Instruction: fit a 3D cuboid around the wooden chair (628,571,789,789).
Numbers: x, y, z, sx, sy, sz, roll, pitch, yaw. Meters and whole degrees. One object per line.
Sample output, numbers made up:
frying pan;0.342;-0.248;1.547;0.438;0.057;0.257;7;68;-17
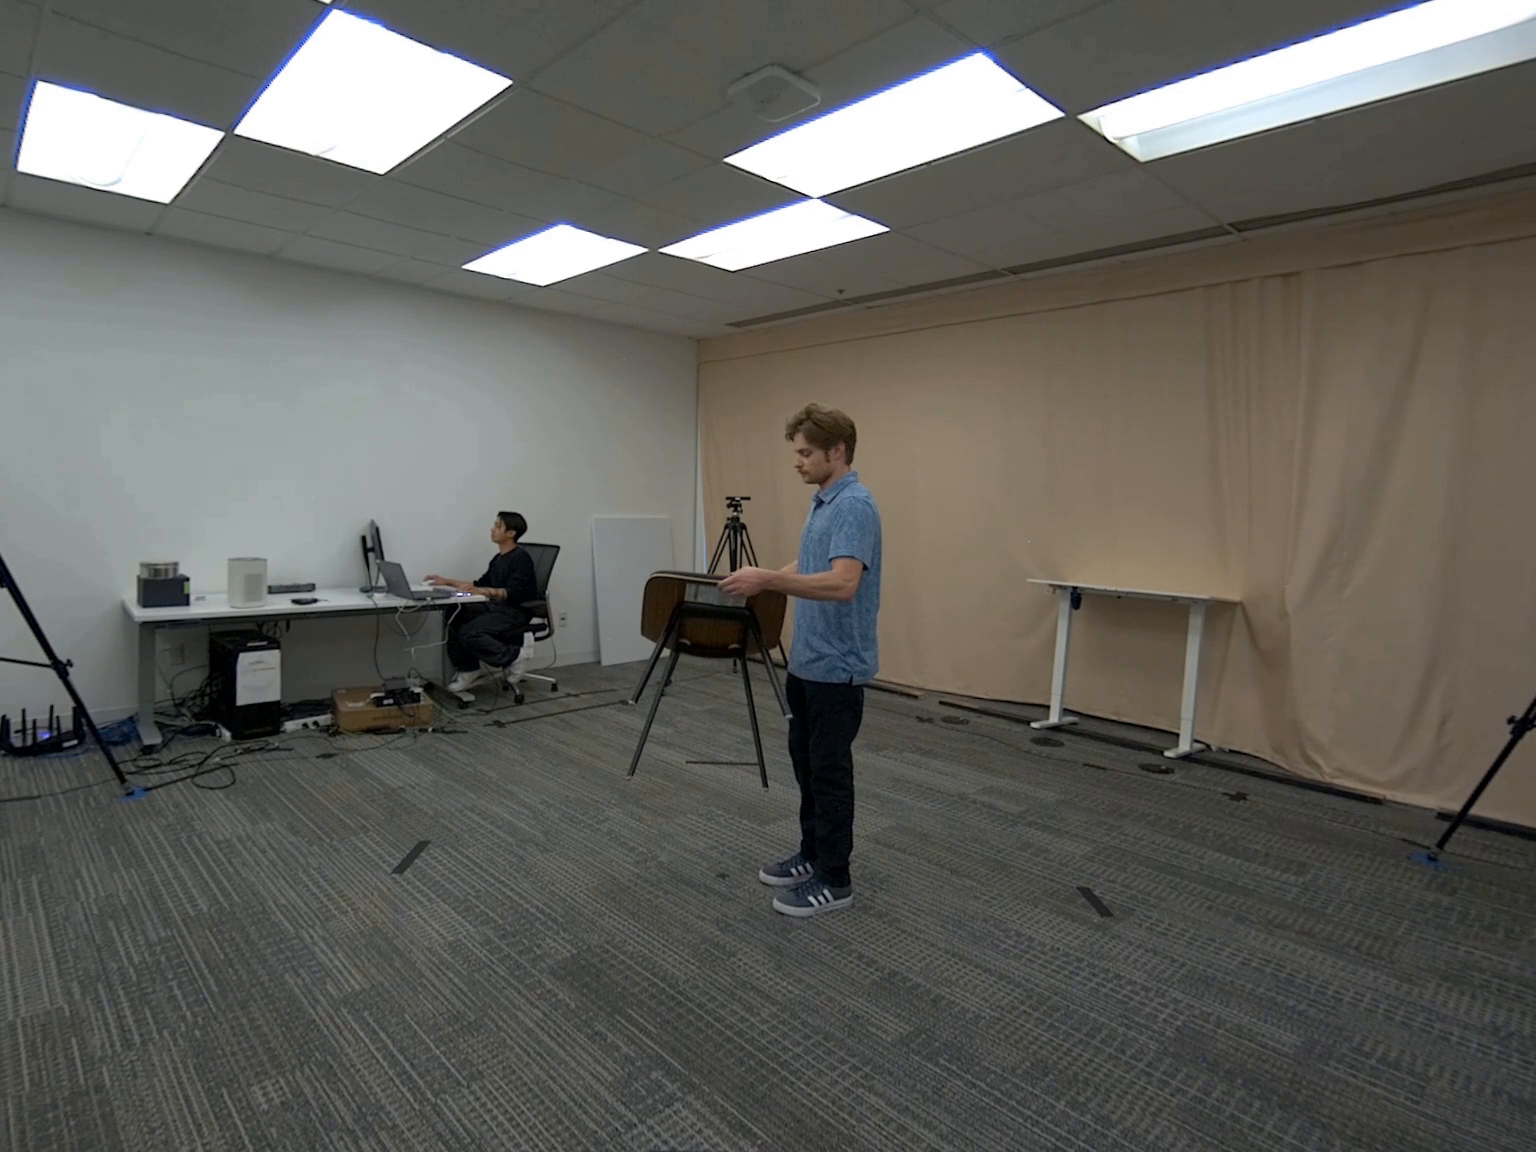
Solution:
wooden chair;-0.185;0.192;2.768;0.477;0.513;0.896;5;44;-4
